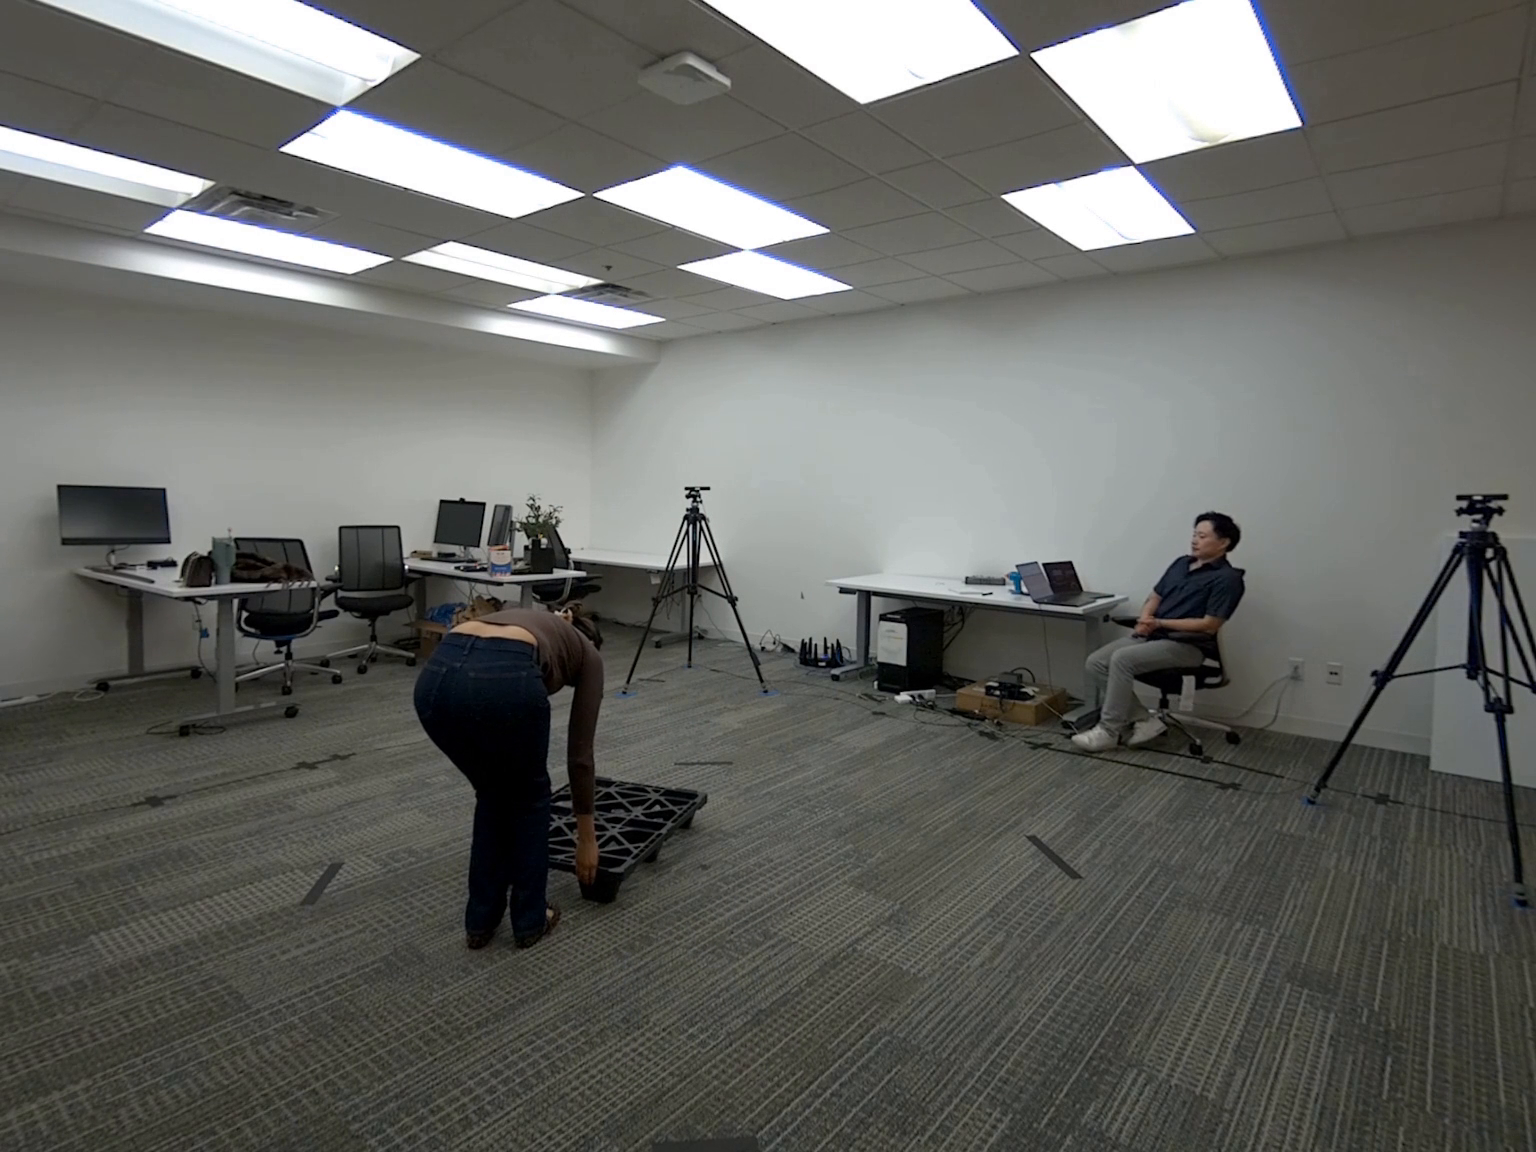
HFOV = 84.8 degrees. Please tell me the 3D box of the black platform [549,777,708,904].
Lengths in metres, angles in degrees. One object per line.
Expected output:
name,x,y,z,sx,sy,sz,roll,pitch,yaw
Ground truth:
black platform,-0.659,0.980,3.244,0.617,0.143,0.792,2,5,18
